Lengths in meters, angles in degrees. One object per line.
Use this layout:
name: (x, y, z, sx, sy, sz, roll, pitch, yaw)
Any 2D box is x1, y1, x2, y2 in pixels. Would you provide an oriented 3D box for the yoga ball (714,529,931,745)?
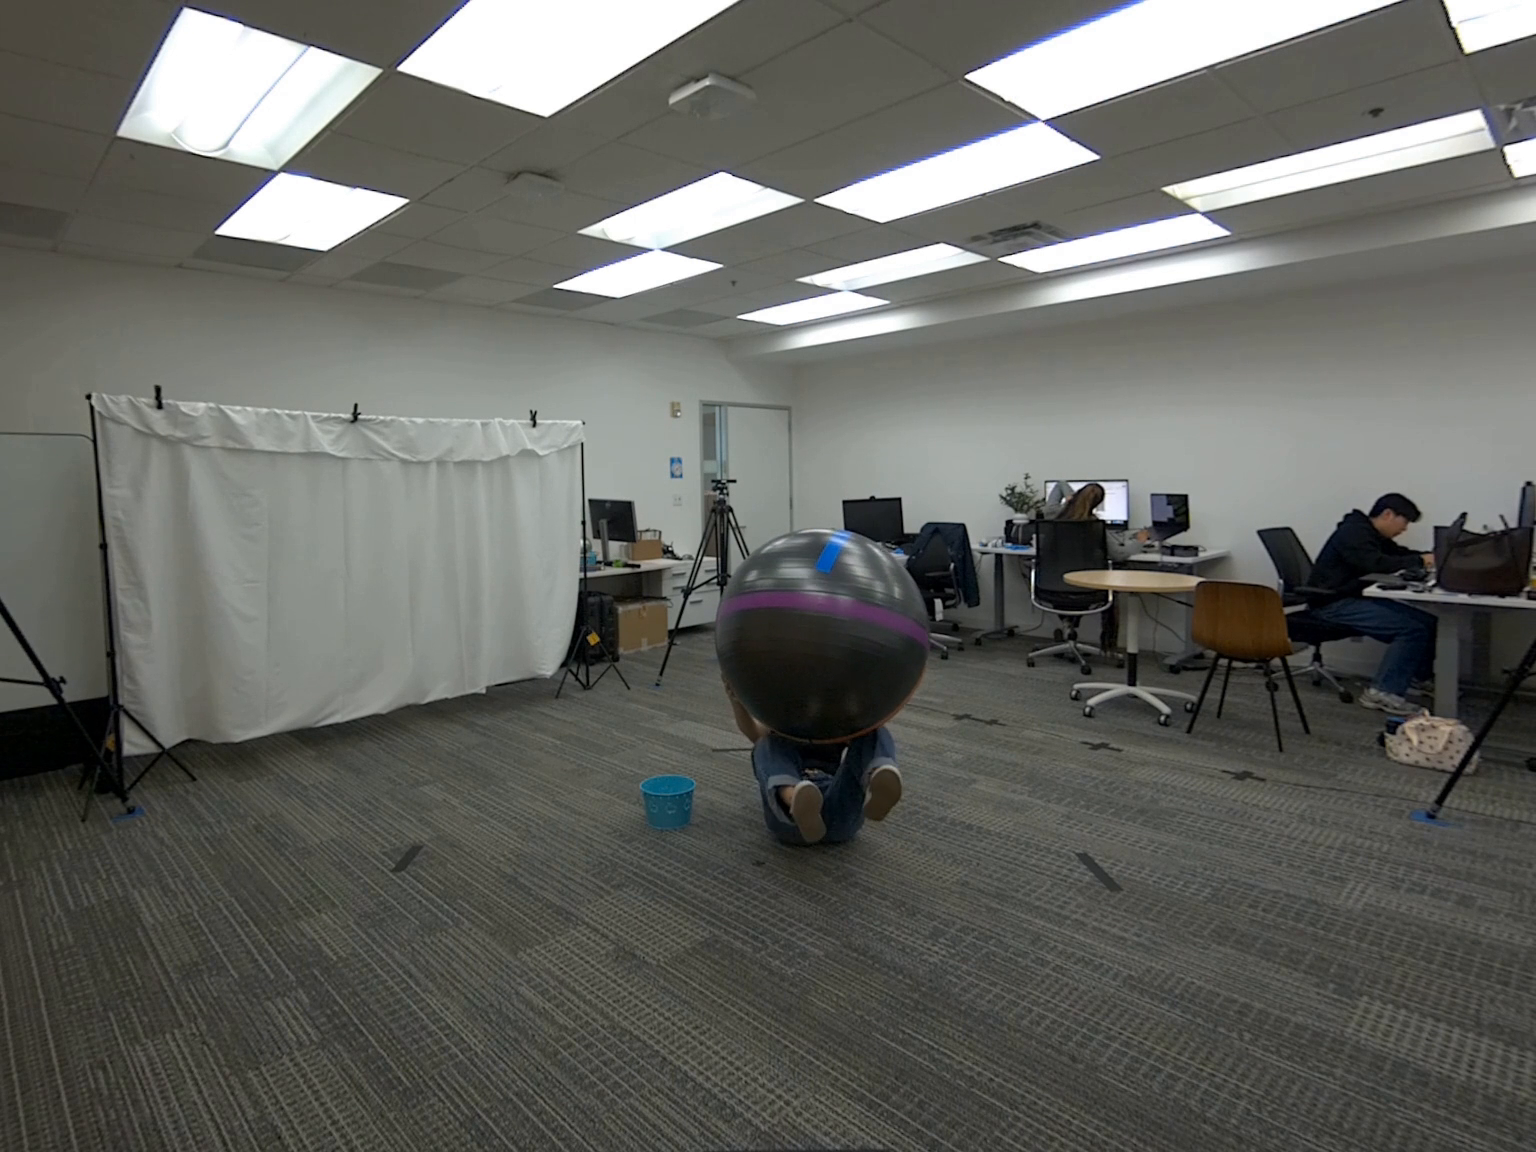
yoga ball: (0.192, 0.218, 3.067, 0.757, 0.755, 0.762, -1, 5, -2)
